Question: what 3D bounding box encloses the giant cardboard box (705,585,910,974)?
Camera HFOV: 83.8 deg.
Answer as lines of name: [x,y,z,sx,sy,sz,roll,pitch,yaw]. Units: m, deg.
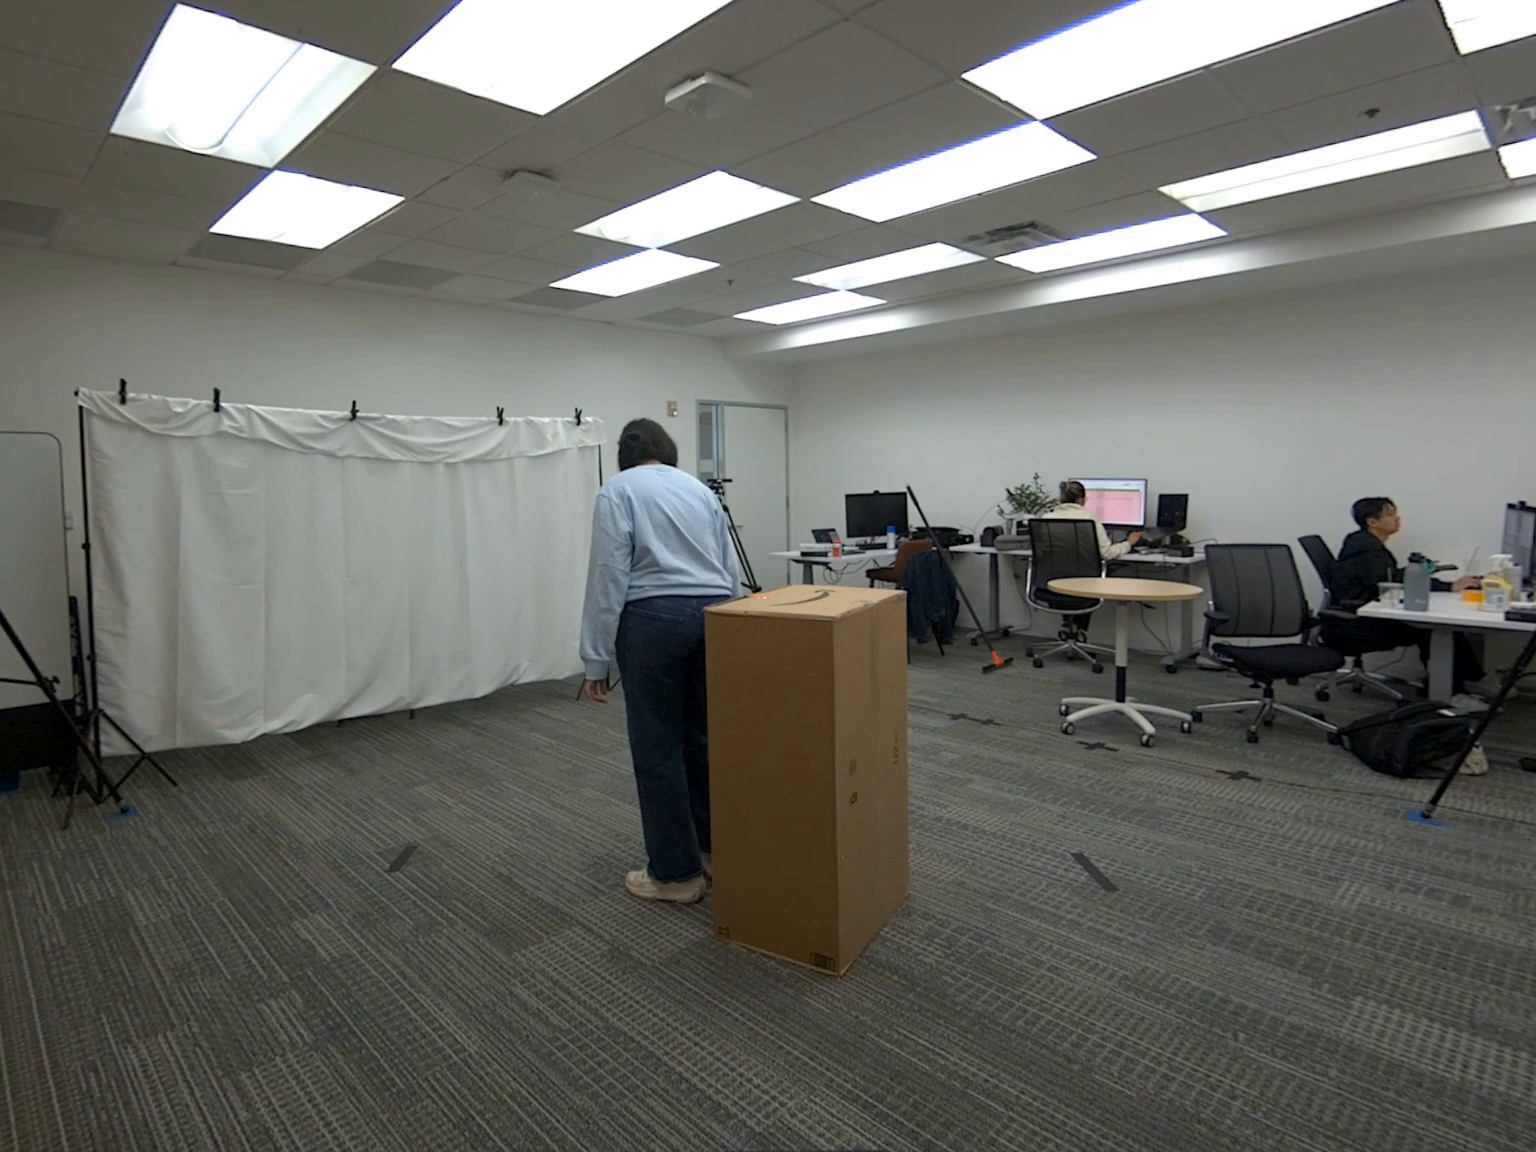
giant cardboard box: [0.142,0.577,2.698,0.437,1.022,0.564,1,5,31]
